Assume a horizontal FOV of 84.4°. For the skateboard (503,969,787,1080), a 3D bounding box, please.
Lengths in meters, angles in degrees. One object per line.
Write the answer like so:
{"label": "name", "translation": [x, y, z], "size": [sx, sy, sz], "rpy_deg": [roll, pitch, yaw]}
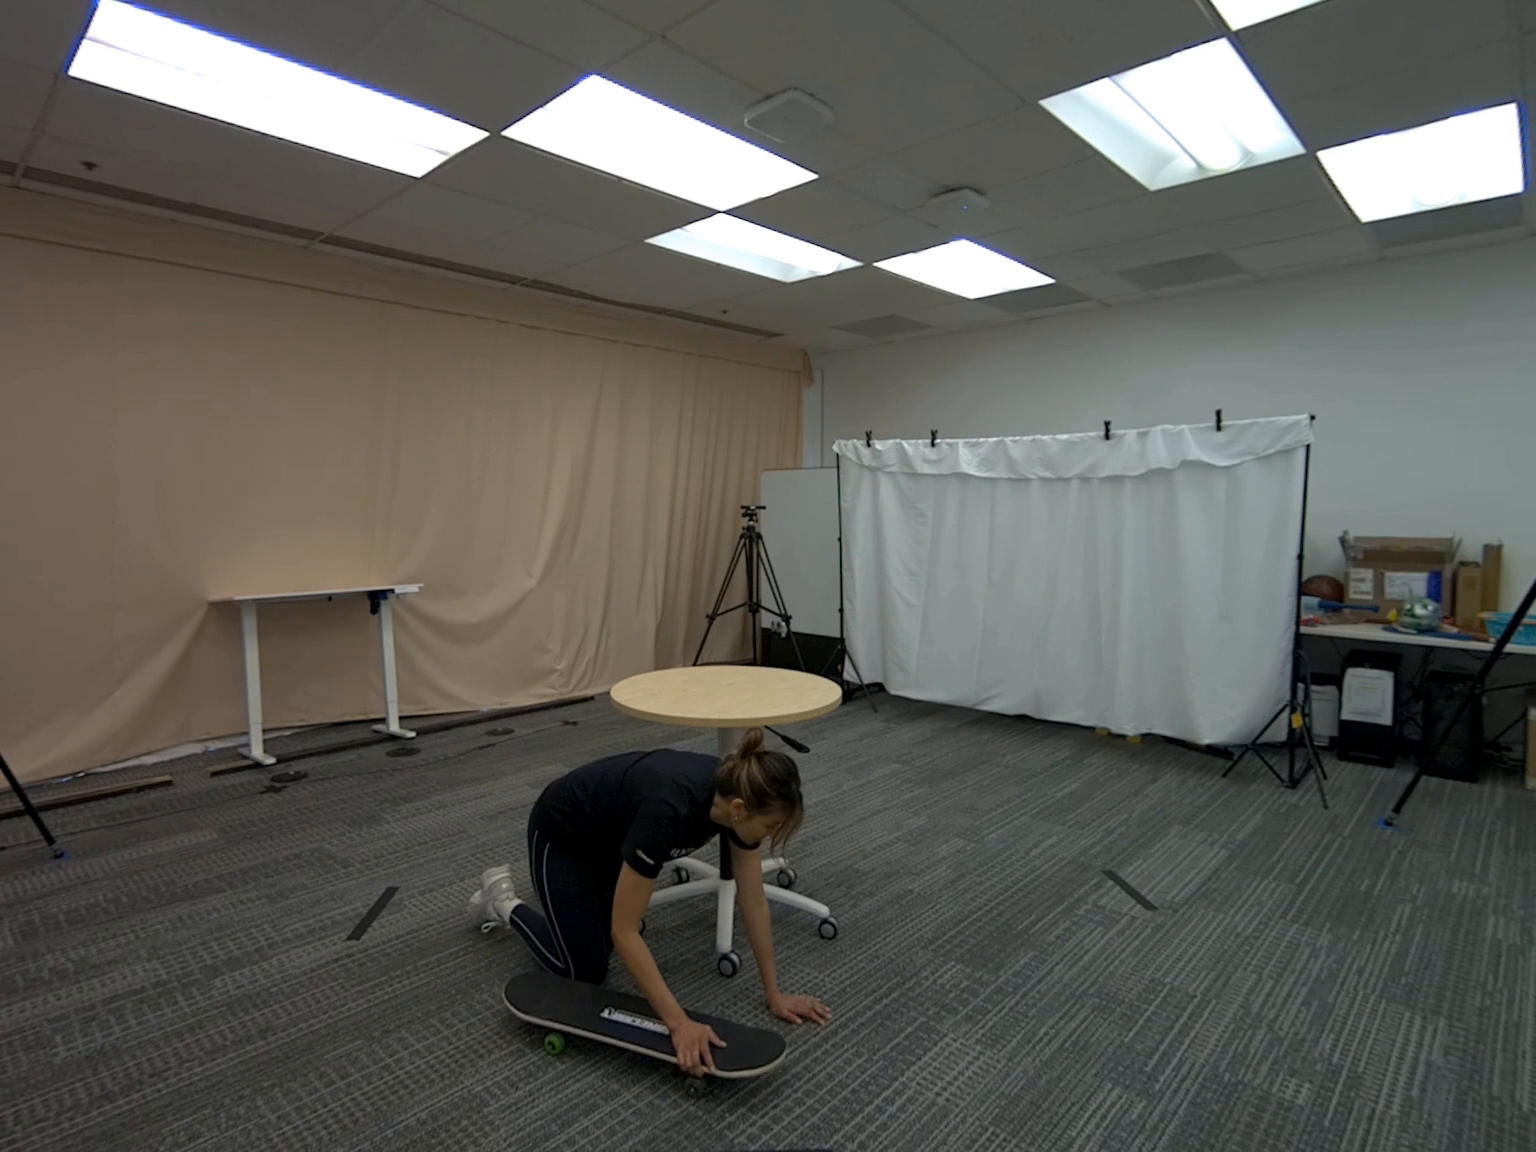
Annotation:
{"label": "skateboard", "translation": [-0.326, 1.155, 2.133], "size": [0.805, 0.110, 0.189], "rpy_deg": [2, 5, 24]}
